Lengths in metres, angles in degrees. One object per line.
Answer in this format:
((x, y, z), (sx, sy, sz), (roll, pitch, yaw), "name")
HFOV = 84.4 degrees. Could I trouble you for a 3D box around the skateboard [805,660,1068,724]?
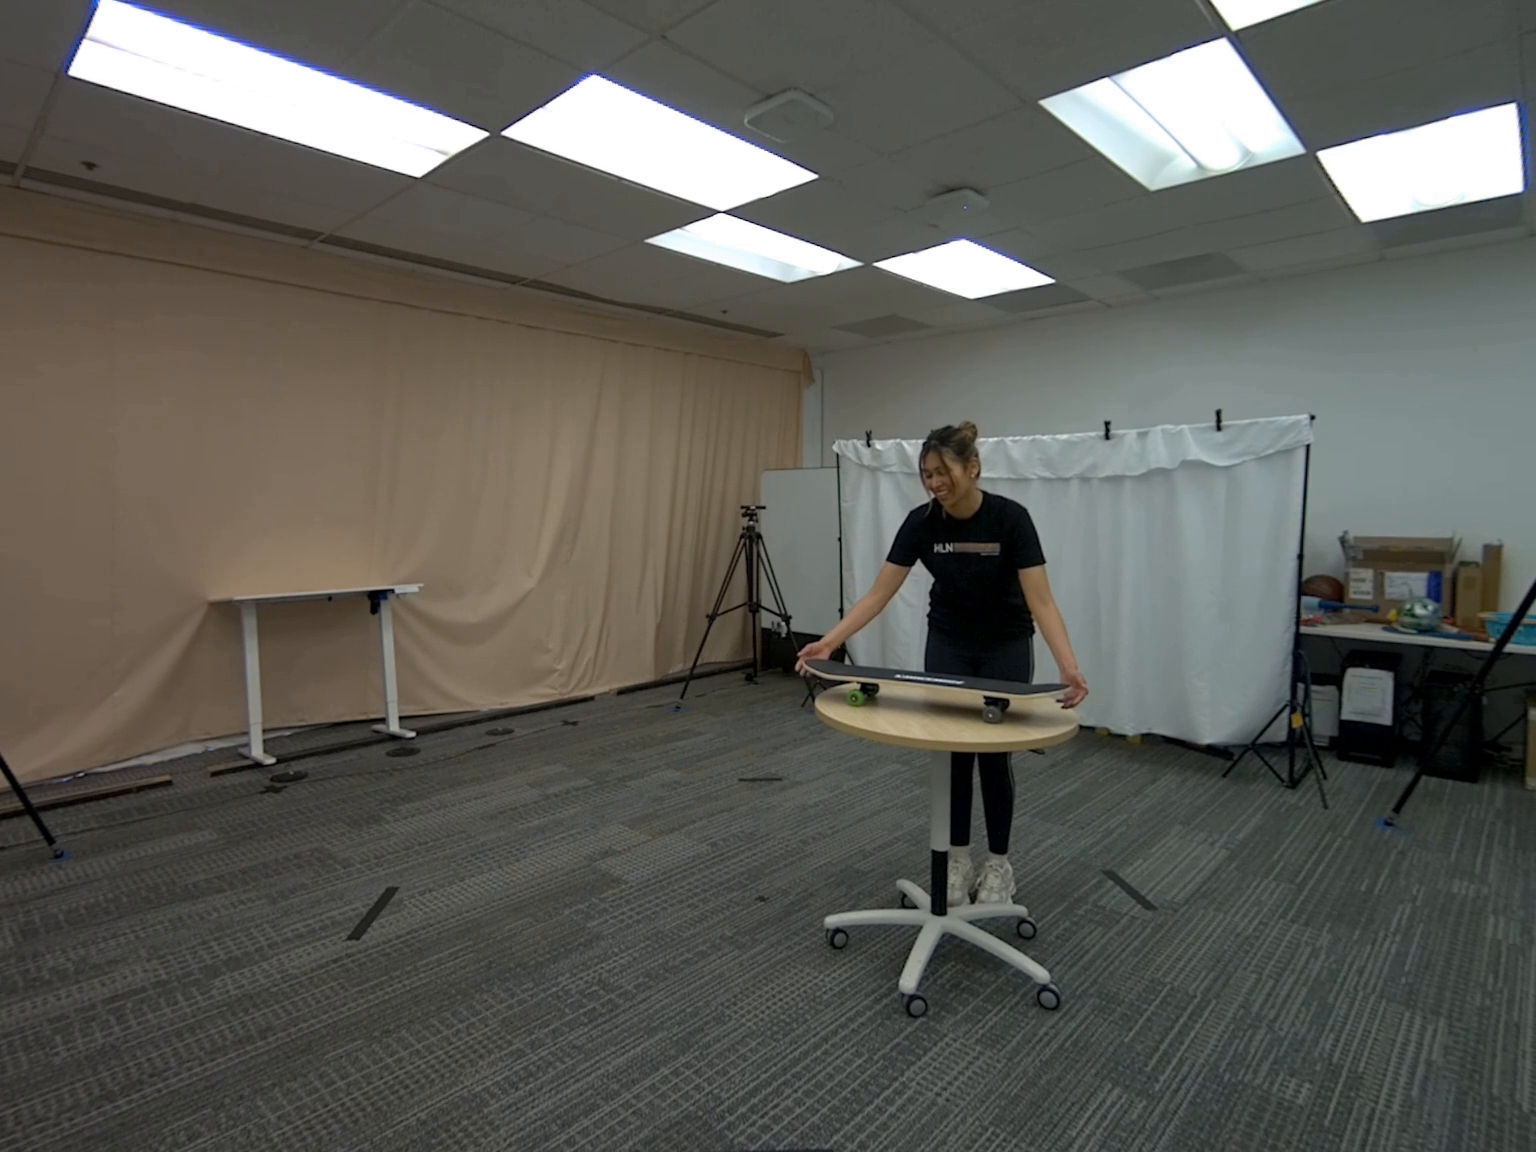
((0.499, 0.348, 2.522), (0.807, 0.110, 0.188), (3, 5, 28), "skateboard")
